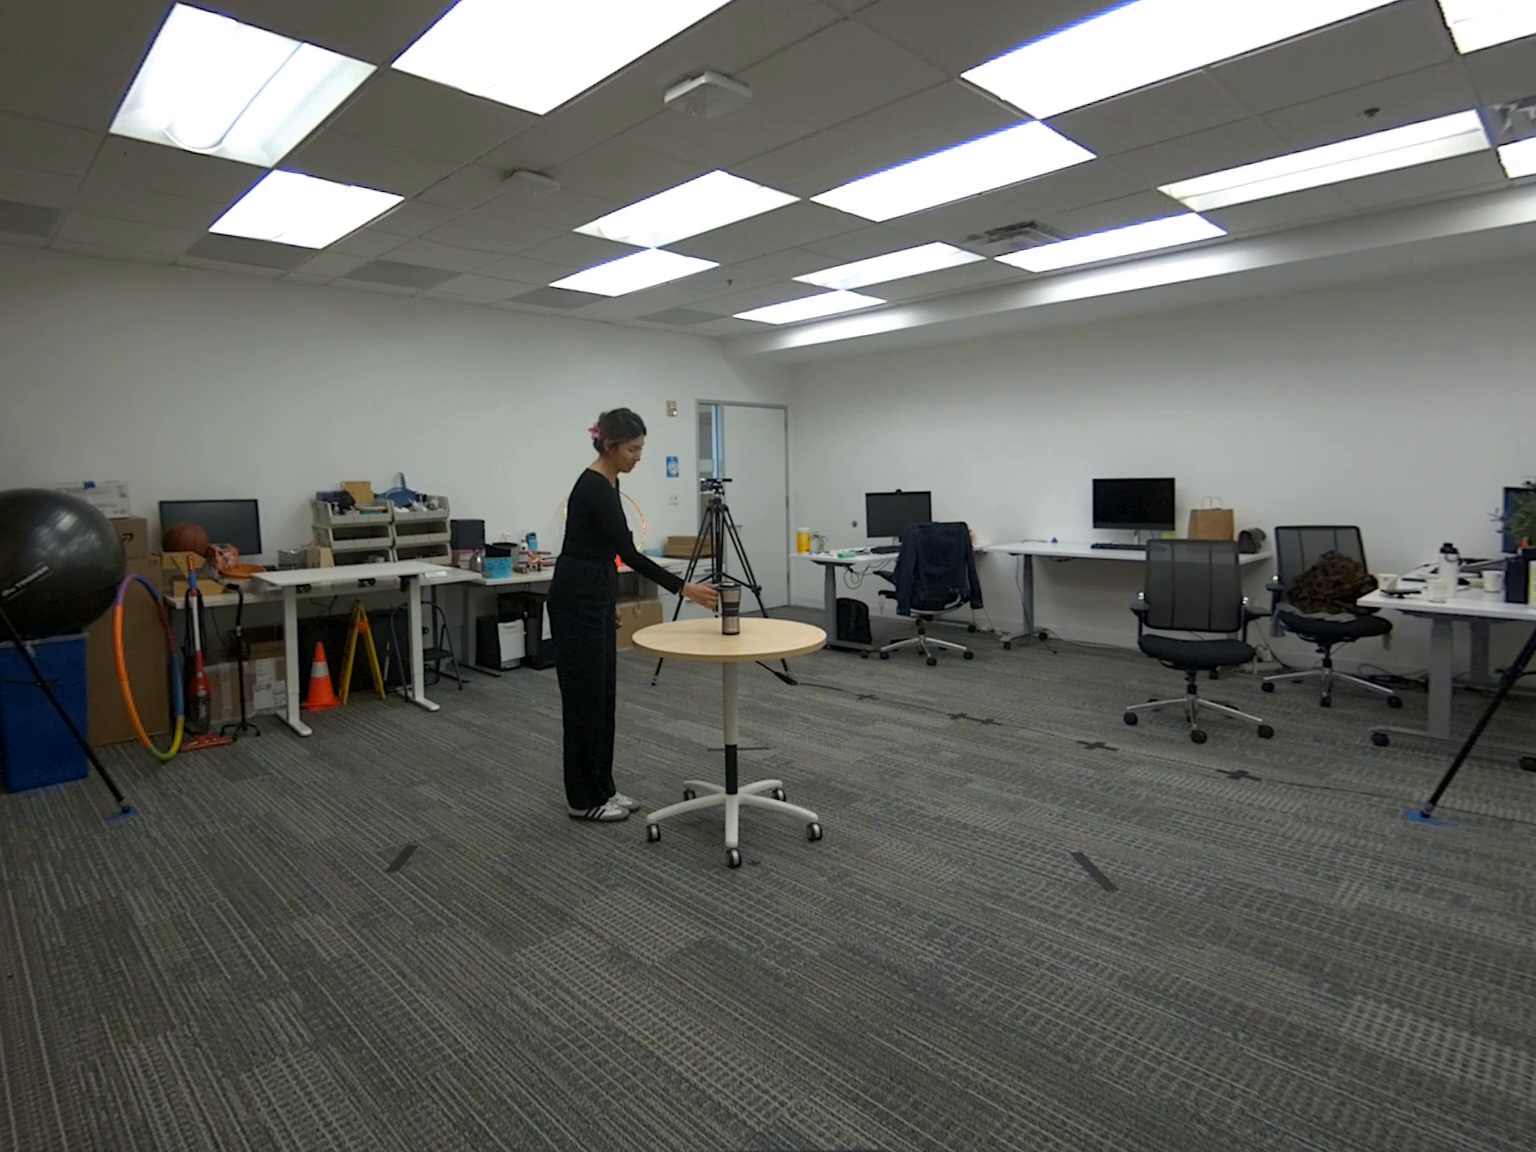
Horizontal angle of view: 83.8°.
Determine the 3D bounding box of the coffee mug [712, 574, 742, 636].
[{"bbox_3d":[-0.162,0.131,3.394,0.086,0.201,0.126,-7,11,-40],"label":"coffee mug"}]
